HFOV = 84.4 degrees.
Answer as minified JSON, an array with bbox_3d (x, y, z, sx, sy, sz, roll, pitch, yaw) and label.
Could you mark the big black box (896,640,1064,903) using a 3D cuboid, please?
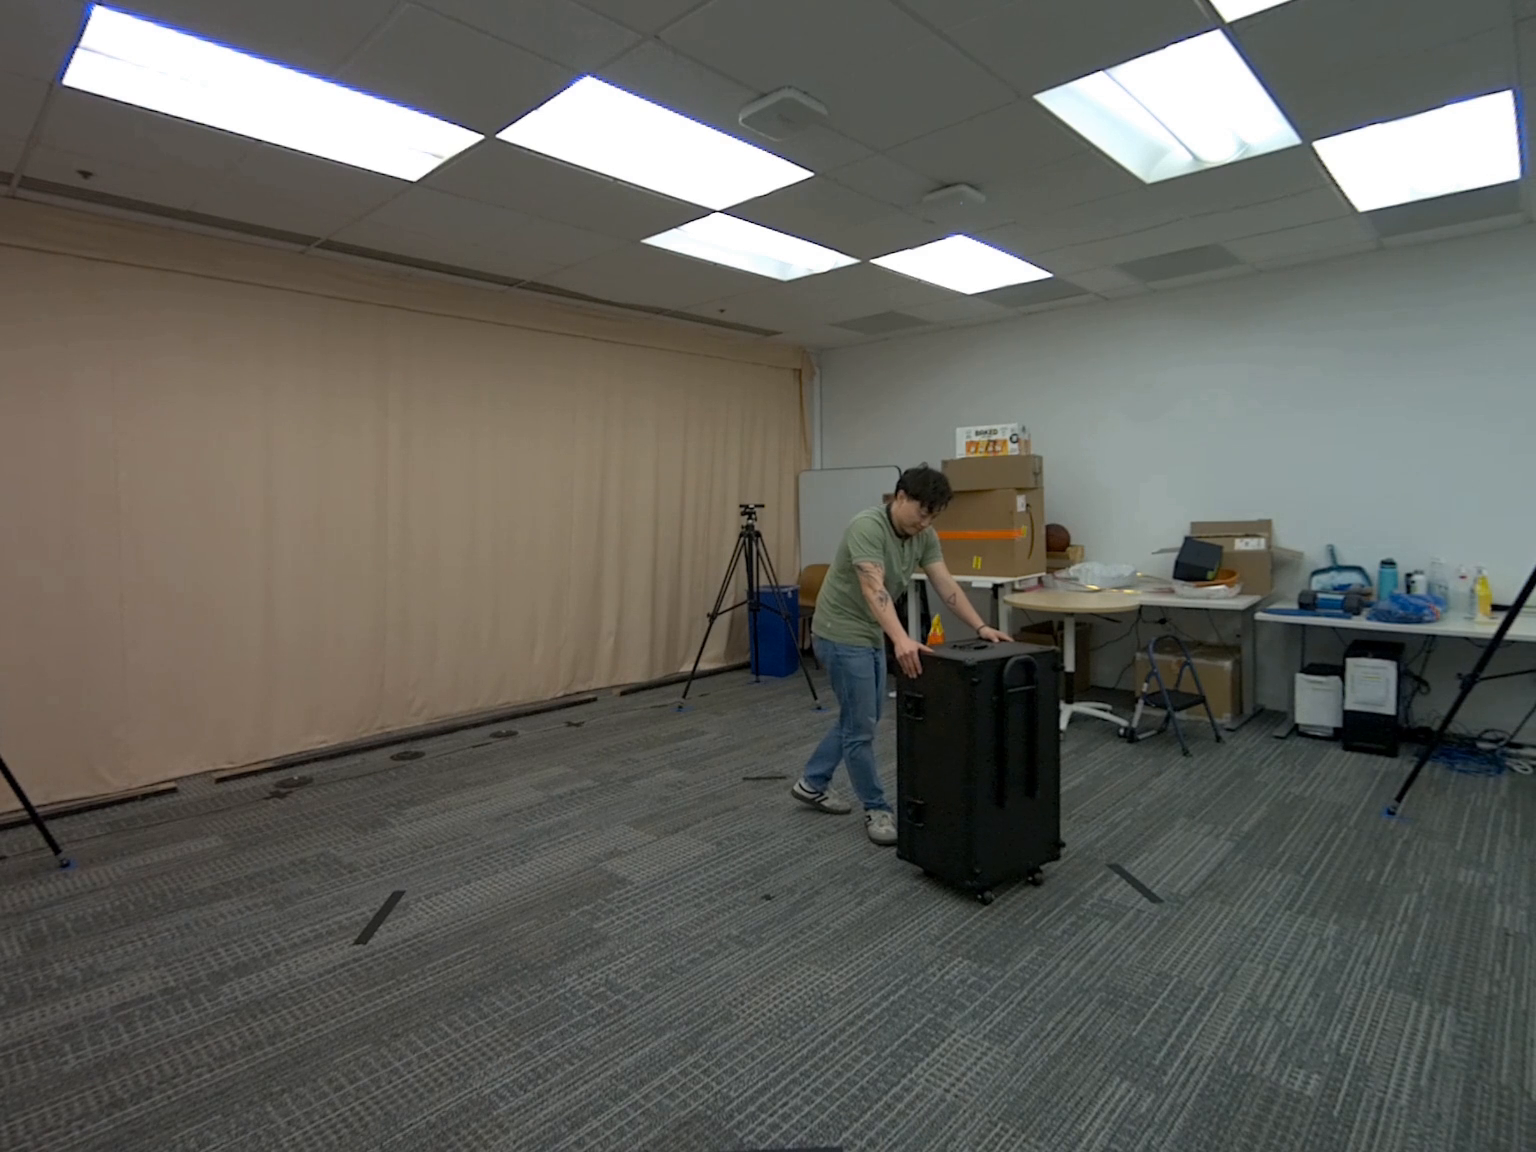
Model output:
[{"bbox_3d":[0.801,0.696,3.089,0.506,0.859,0.409,-3,5,-35],"label":"big black box"}]
